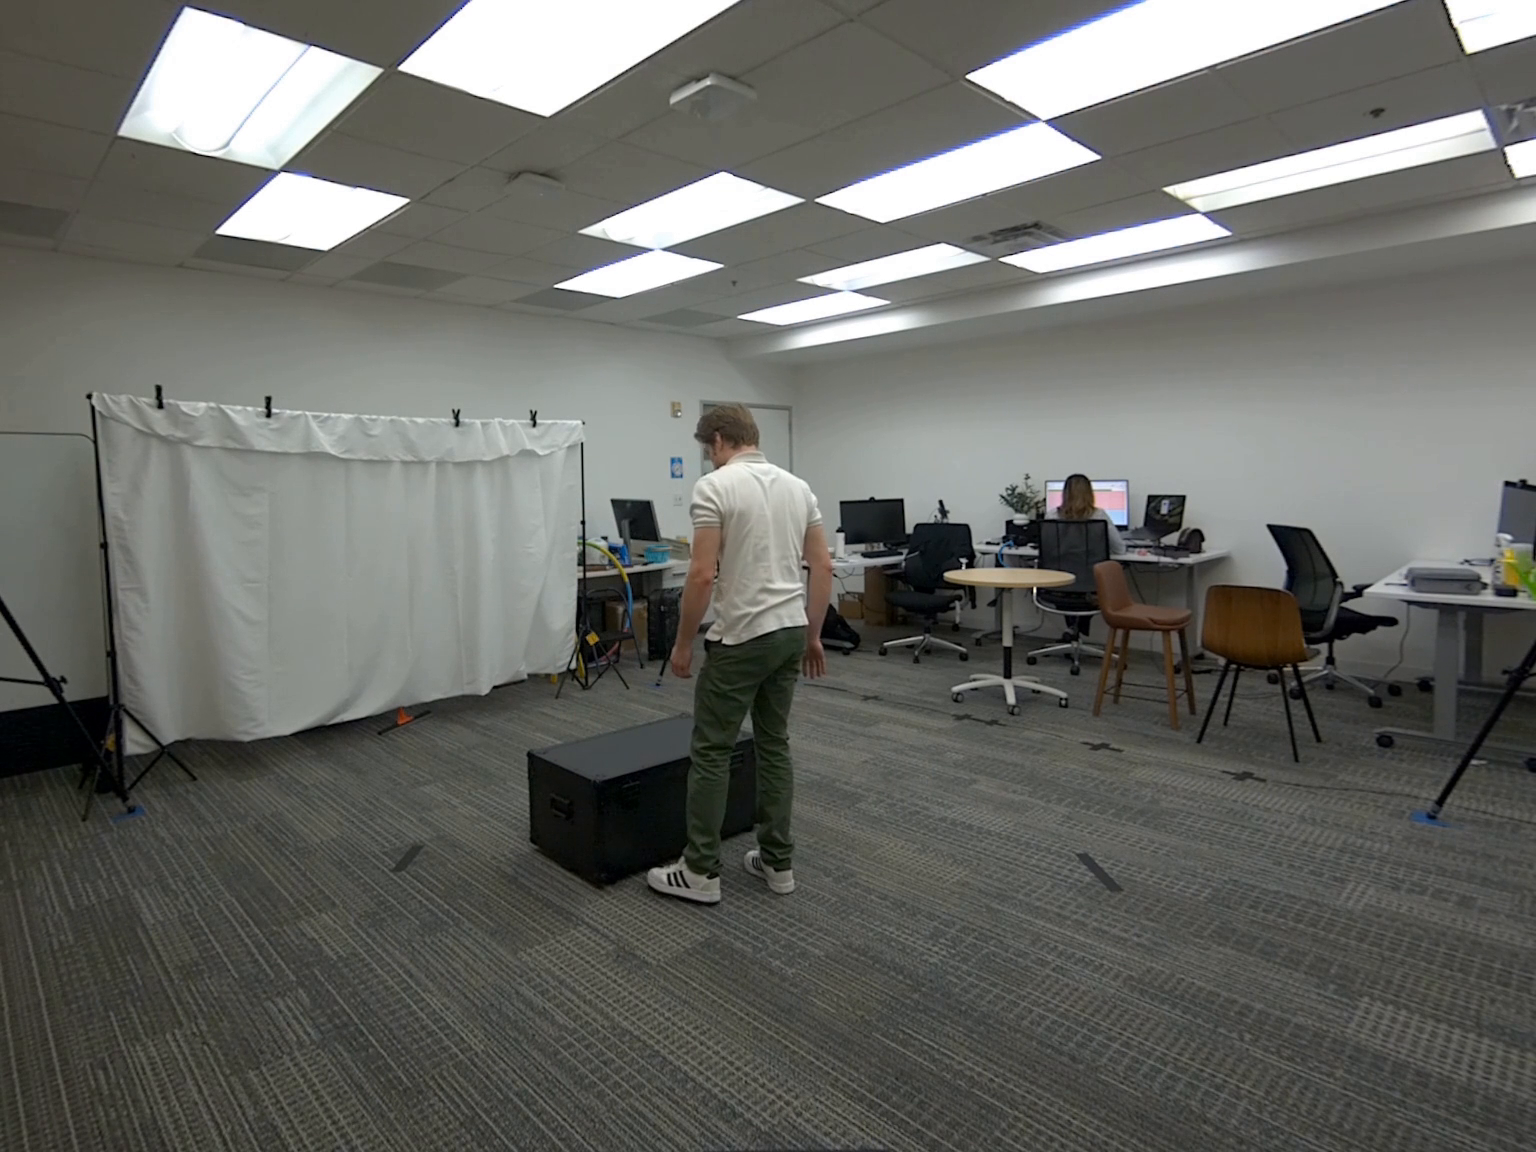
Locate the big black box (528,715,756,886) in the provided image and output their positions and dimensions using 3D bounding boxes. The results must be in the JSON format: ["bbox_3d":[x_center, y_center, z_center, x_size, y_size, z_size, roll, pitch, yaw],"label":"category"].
[{"bbox_3d":[-0.445,0.834,3.364,0.839,0.394,0.537,-8,8,-43],"label":"big black box"}]
